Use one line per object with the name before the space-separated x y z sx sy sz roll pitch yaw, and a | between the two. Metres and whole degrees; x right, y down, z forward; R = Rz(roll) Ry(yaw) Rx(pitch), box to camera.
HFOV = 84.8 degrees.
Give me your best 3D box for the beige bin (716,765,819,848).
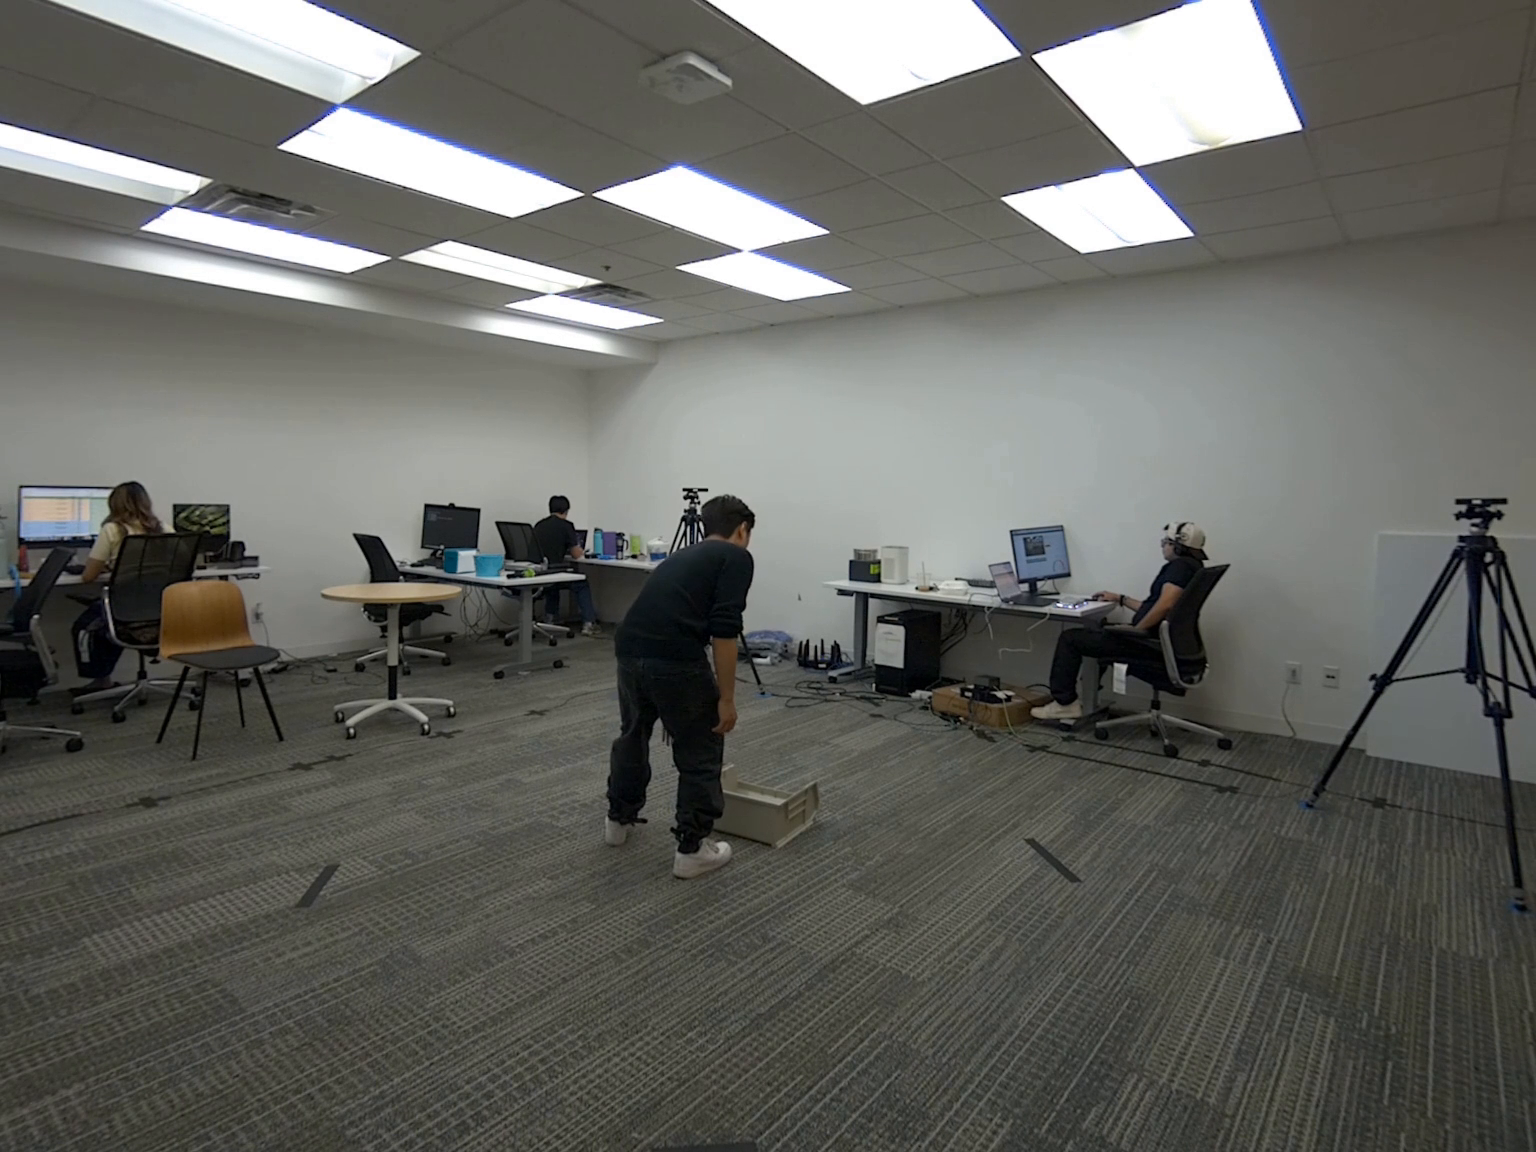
beige bin | -0.062 0.940 3.553 0.435 0.188 0.368 4 7 30
